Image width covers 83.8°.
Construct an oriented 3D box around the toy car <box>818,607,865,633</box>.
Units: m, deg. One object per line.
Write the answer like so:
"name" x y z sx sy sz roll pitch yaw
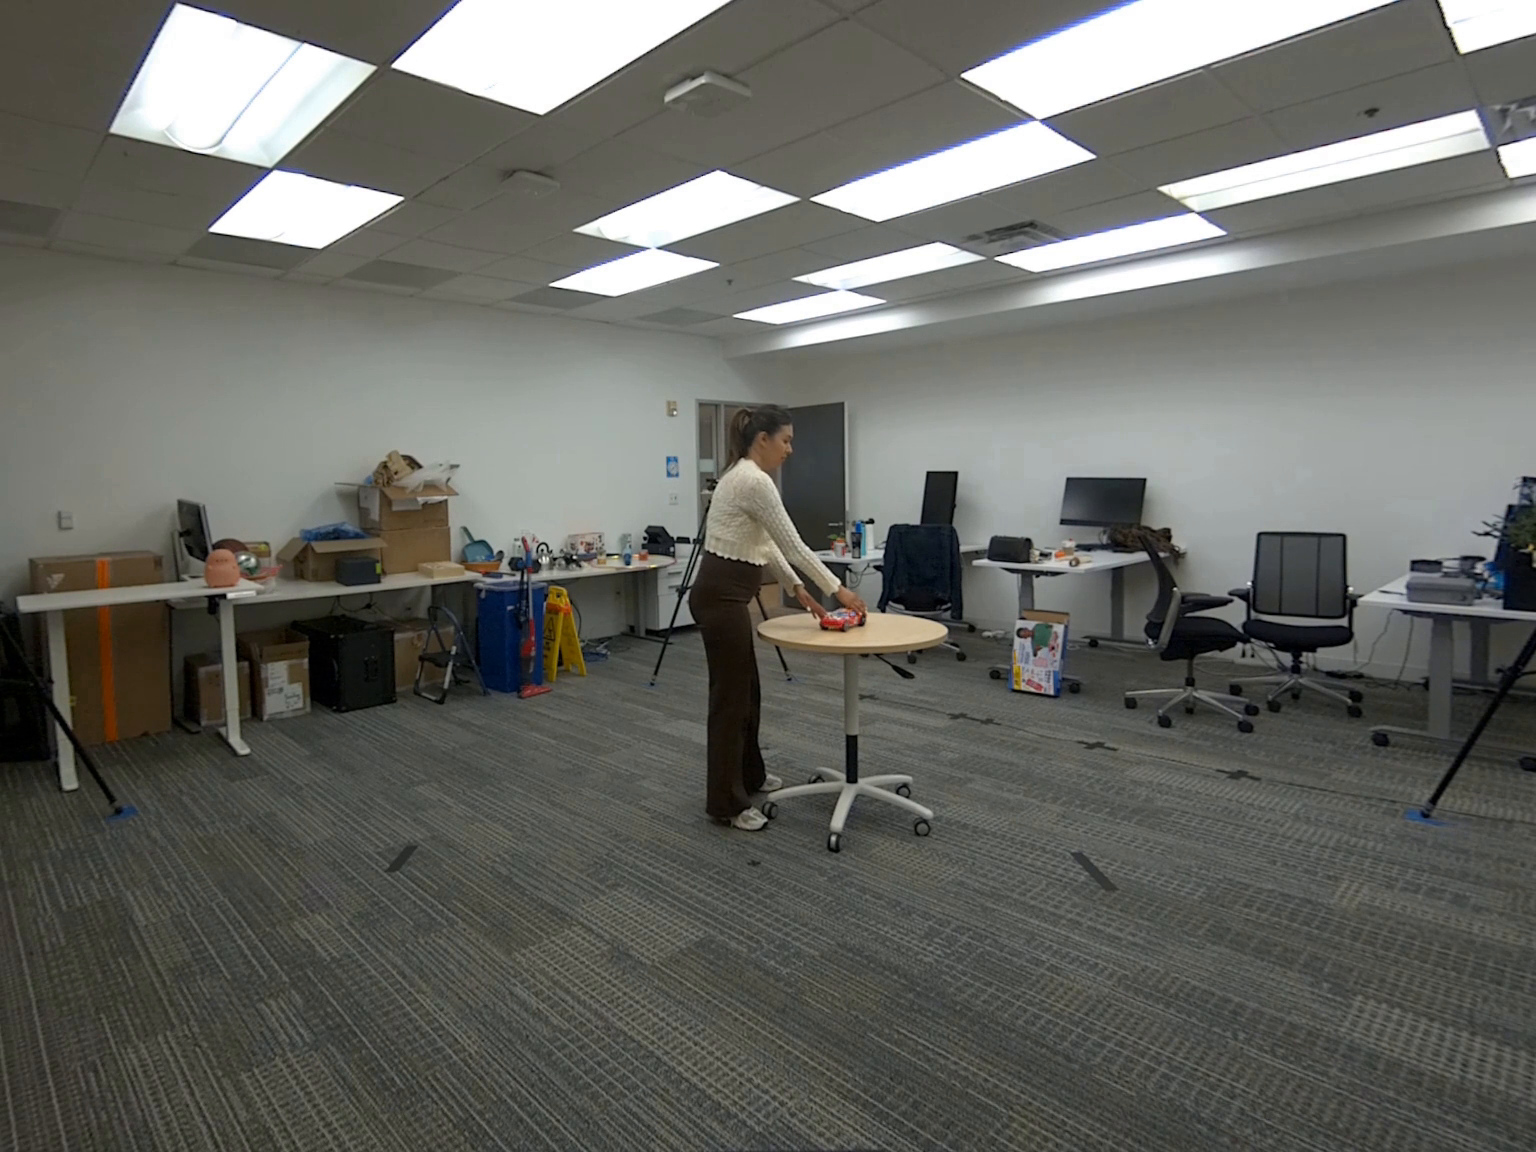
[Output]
"toy car" 0.314 0.177 3.495 0.134 0.082 0.251 2 17 34
